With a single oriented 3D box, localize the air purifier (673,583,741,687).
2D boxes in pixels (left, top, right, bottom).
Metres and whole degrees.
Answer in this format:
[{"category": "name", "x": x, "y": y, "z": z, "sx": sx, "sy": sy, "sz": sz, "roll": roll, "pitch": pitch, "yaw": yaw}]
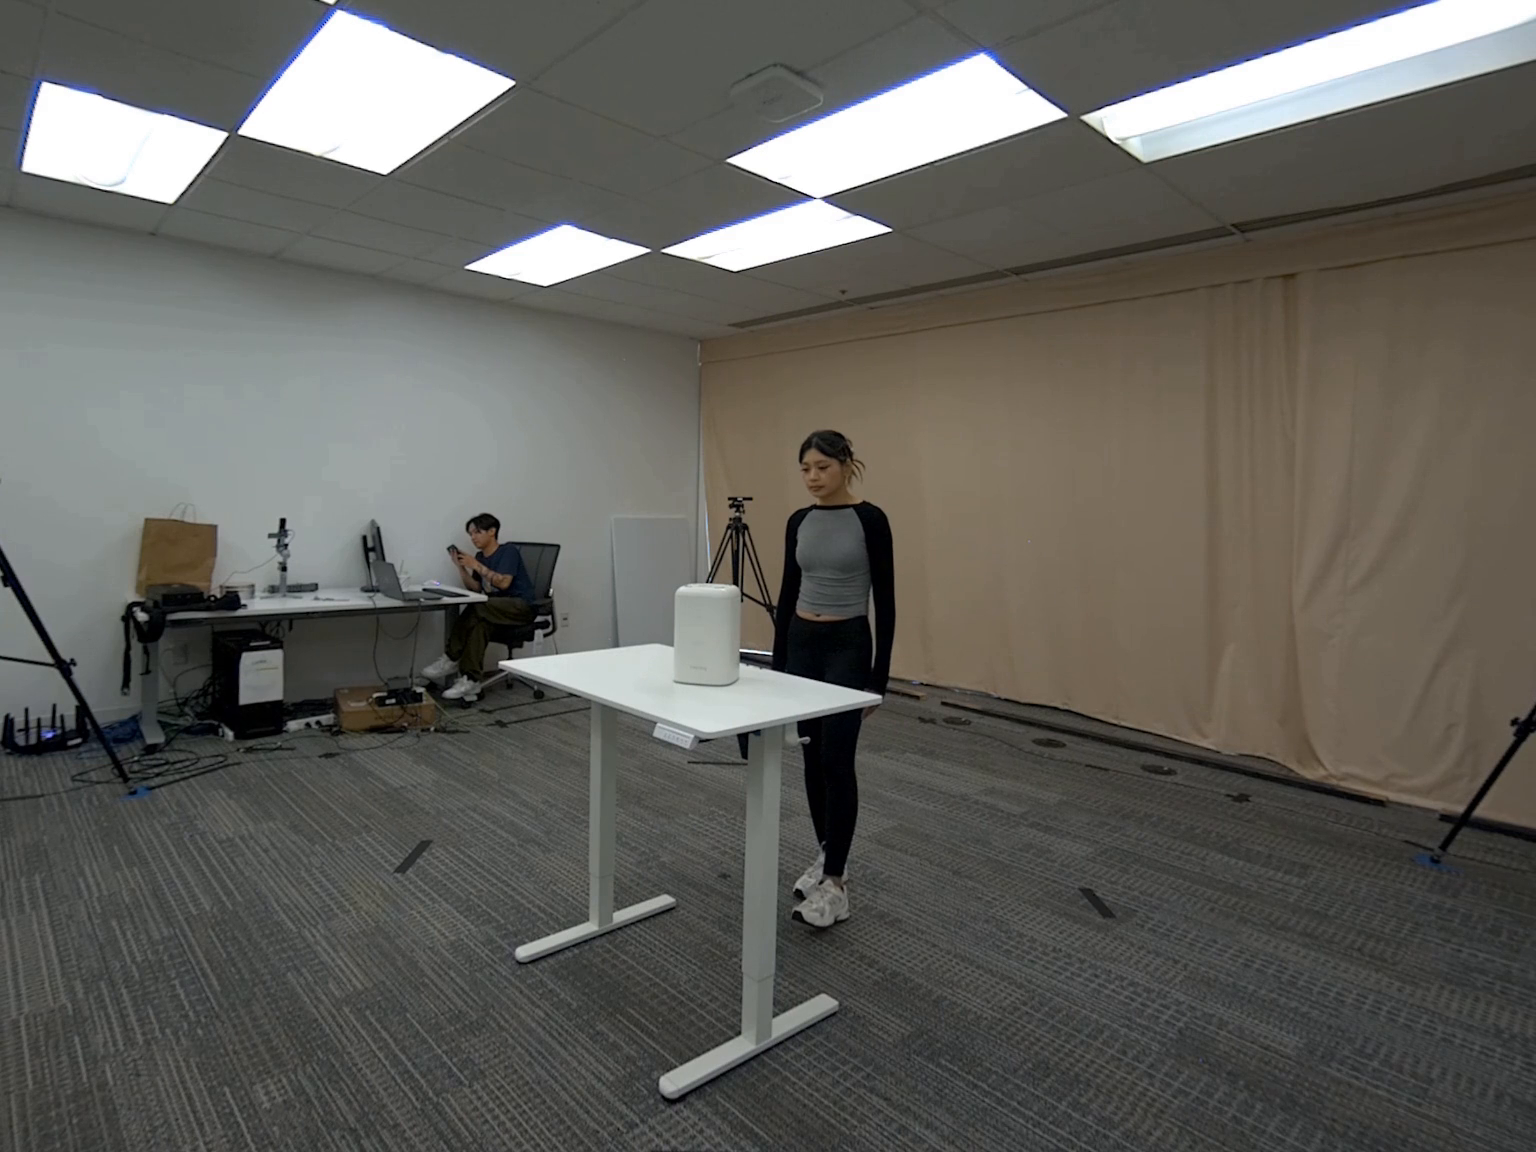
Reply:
[{"category": "air purifier", "x": -0.173, "y": 0.161, "z": 2.351, "sx": 0.173, "sy": 0.265, "sz": 0.170, "roll": 2, "pitch": 3, "yaw": 15}]
